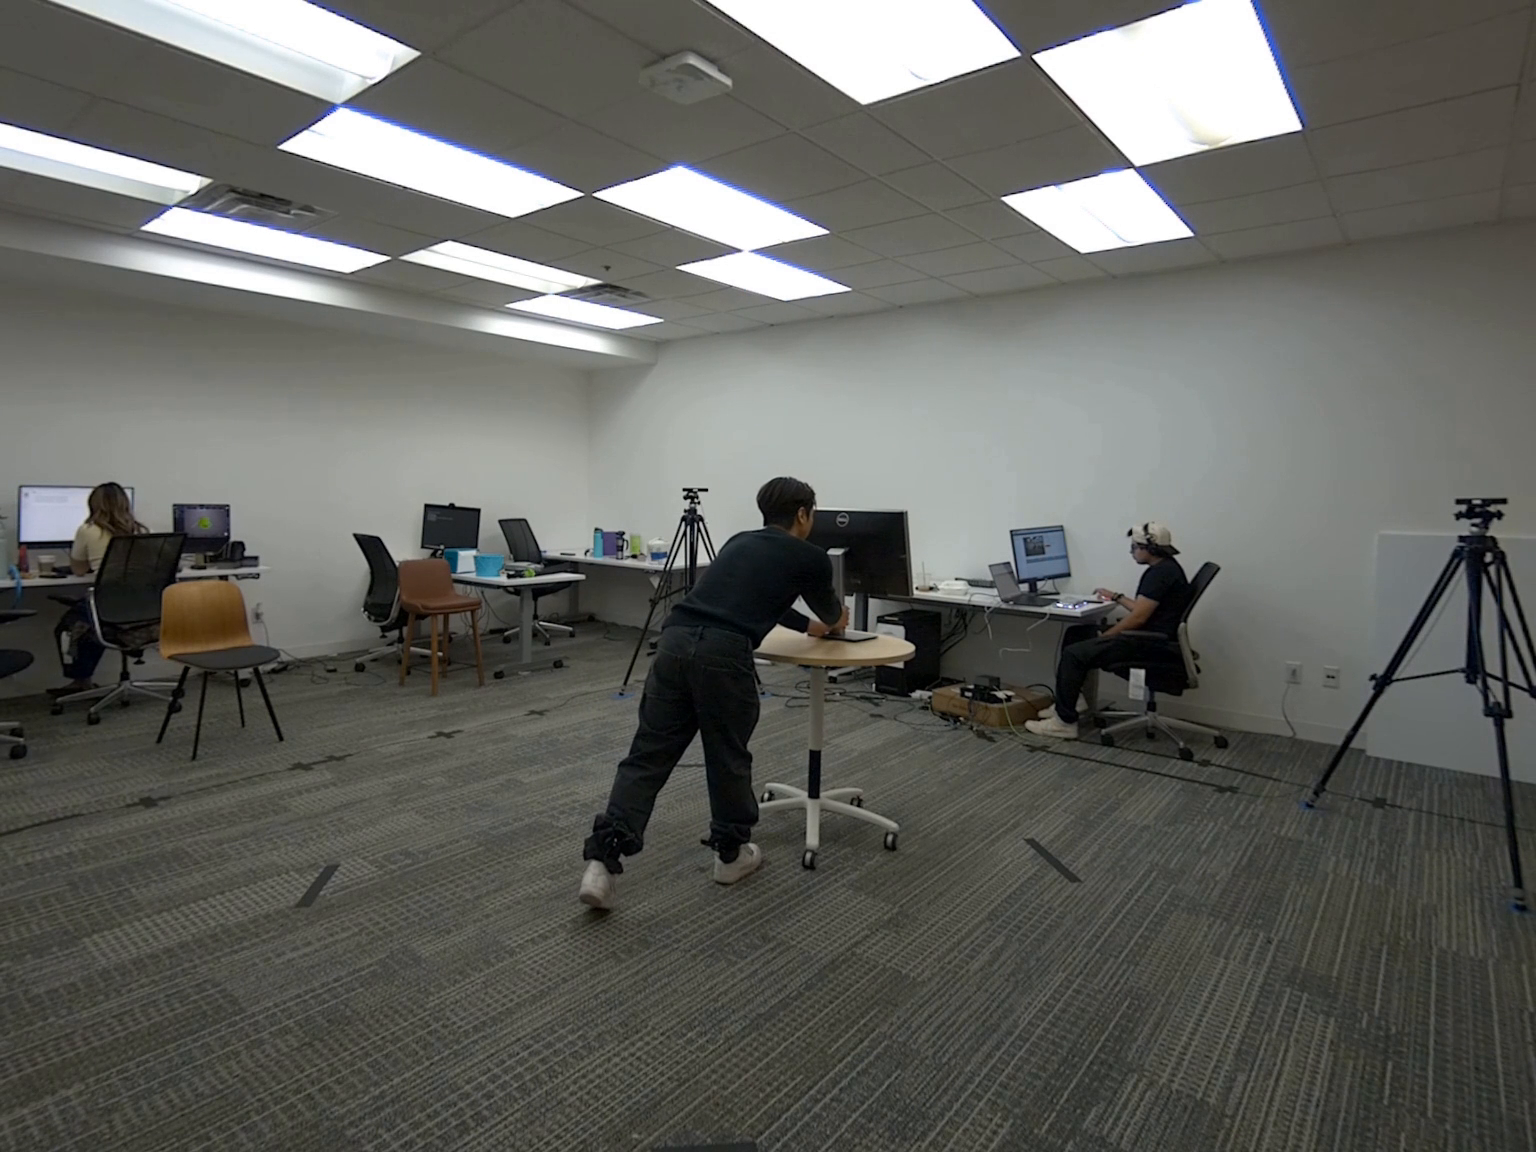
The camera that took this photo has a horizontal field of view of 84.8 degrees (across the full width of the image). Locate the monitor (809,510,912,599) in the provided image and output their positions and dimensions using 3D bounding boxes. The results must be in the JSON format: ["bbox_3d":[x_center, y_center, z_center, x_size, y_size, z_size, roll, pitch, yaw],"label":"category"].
[{"bbox_3d":[0.315,-0.016,3.592,0.556,0.521,0.181,4,3,37],"label":"monitor"}]
